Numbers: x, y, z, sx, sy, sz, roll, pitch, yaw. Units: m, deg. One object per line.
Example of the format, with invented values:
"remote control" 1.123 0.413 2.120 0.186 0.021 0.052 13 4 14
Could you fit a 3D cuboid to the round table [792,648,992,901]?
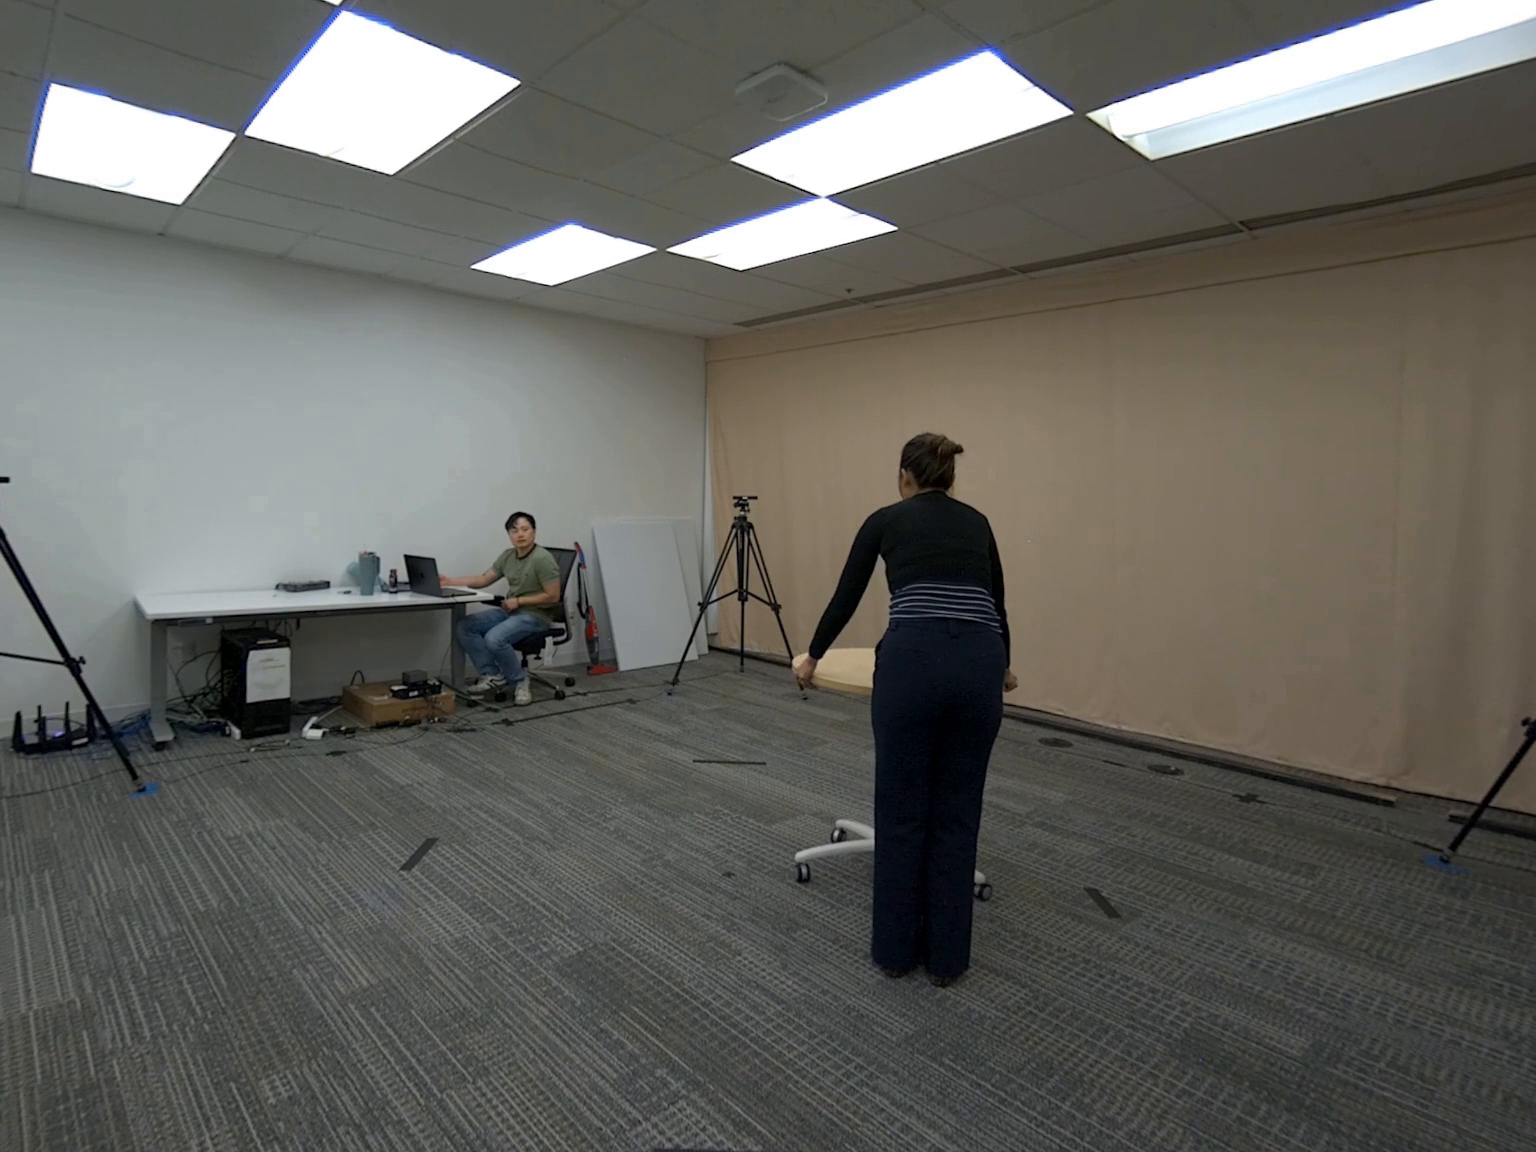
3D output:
"round table" 0.449 0.729 3.102 0.763 0.792 0.767 2 4 -2
